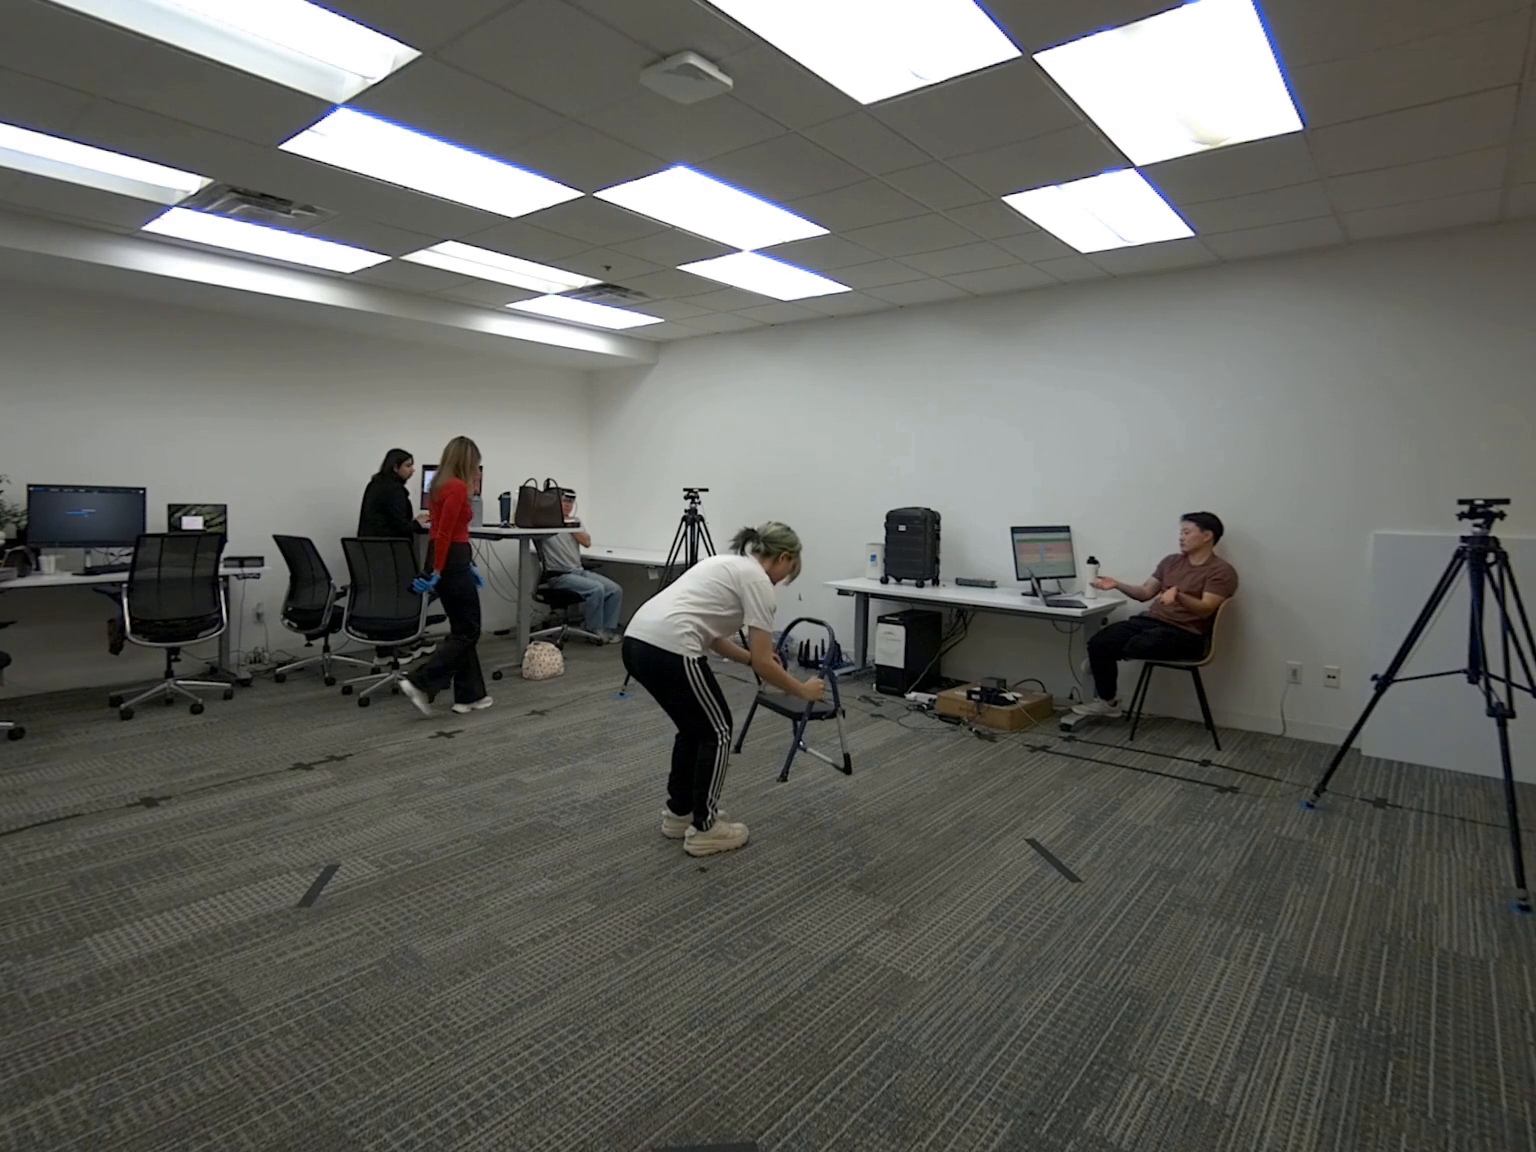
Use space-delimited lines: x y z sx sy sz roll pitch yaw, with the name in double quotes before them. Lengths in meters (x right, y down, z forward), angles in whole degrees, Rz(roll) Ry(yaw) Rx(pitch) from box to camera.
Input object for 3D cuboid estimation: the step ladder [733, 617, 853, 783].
"step ladder" 0.106 0.479 3.546 0.340 0.605 0.443 2 3 -29
